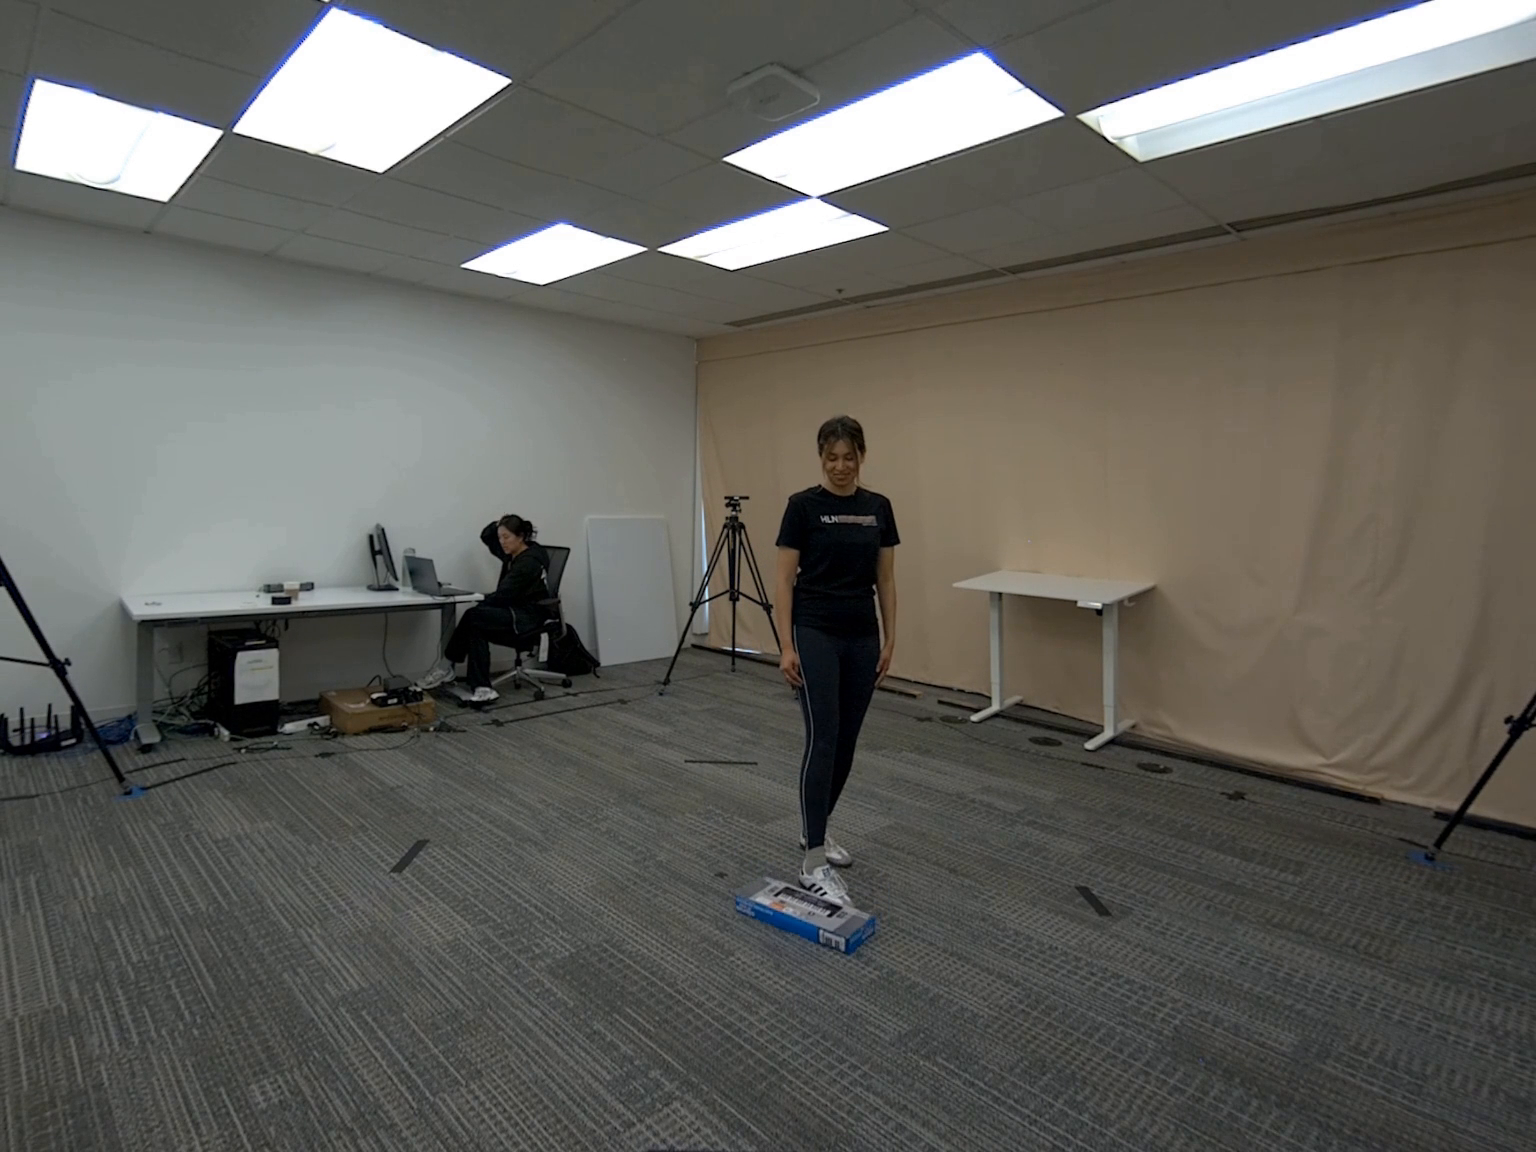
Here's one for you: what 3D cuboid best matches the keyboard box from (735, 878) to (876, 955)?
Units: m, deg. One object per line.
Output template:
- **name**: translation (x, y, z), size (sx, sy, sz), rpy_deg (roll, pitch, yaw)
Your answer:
- **keyboard box**: translation (0.106, 1.112, 2.766), size (0.448, 0.059, 0.172), rpy_deg (5, 7, 37)
